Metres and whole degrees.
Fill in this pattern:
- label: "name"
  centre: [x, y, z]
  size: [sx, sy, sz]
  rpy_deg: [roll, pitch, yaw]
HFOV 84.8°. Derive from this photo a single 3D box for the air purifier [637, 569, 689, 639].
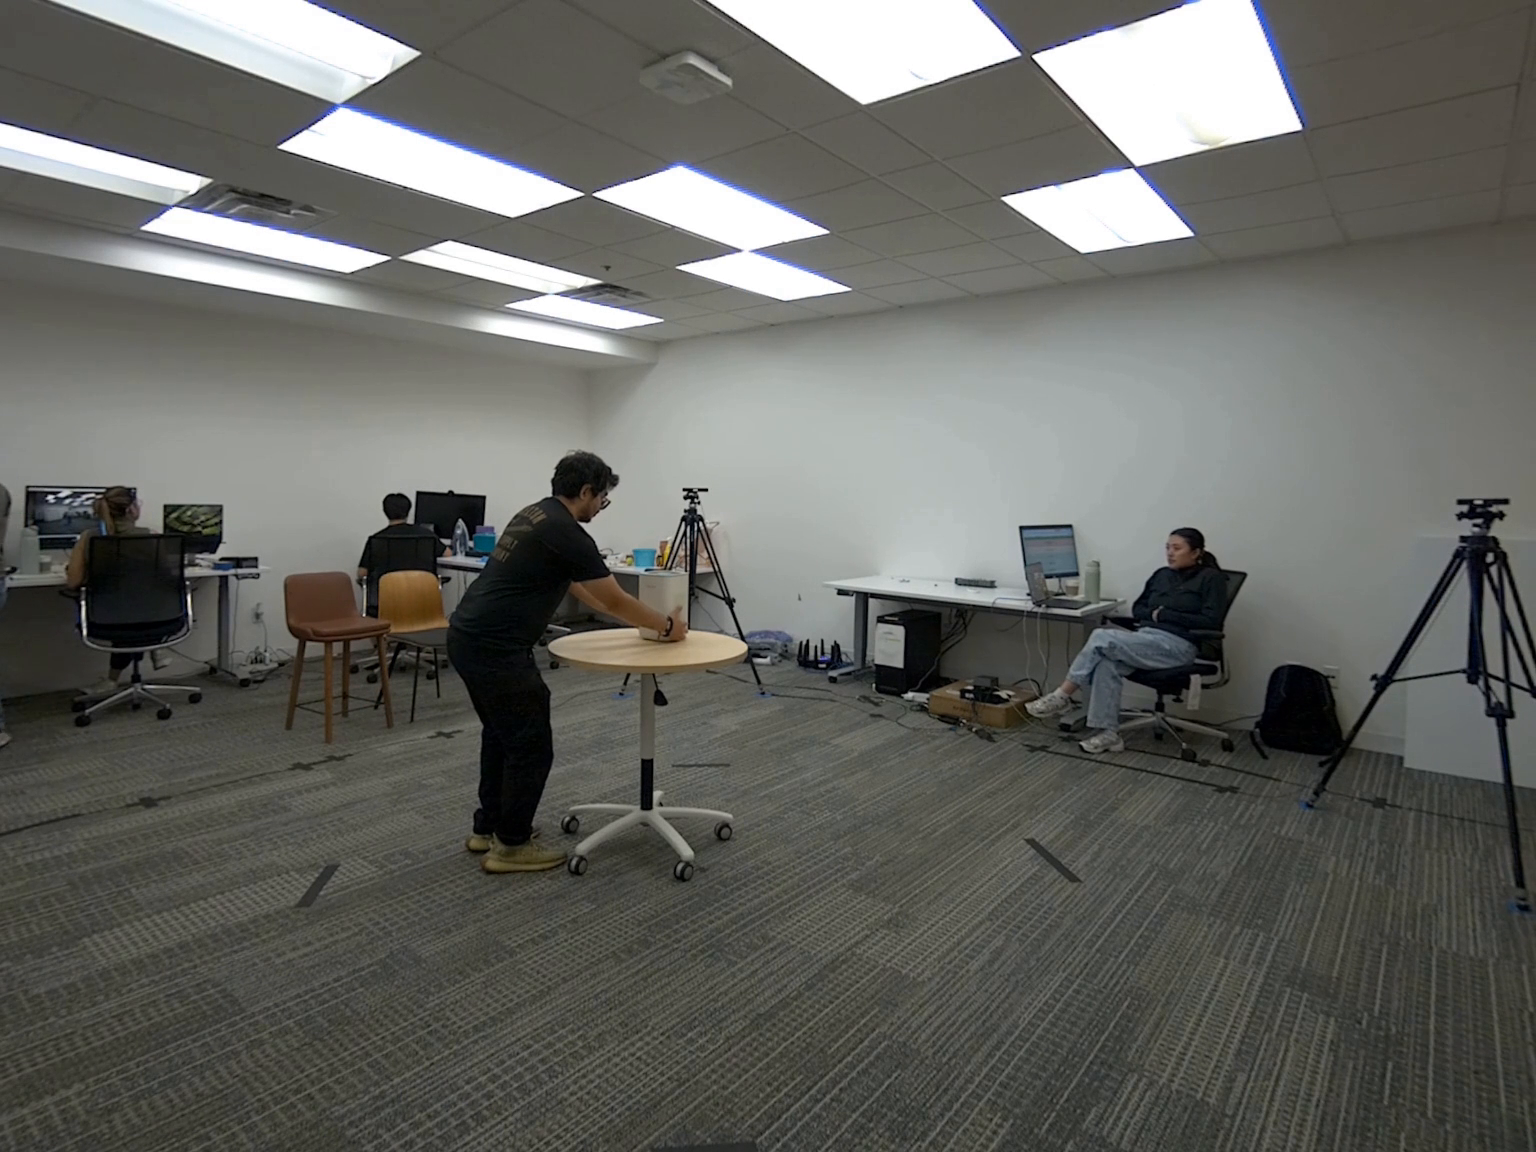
- label: "air purifier"
  centre: [-0.437, 0.118, 3.431]
  size: [0.175, 0.264, 0.168]
  rpy_deg: [3, 4, 25]
